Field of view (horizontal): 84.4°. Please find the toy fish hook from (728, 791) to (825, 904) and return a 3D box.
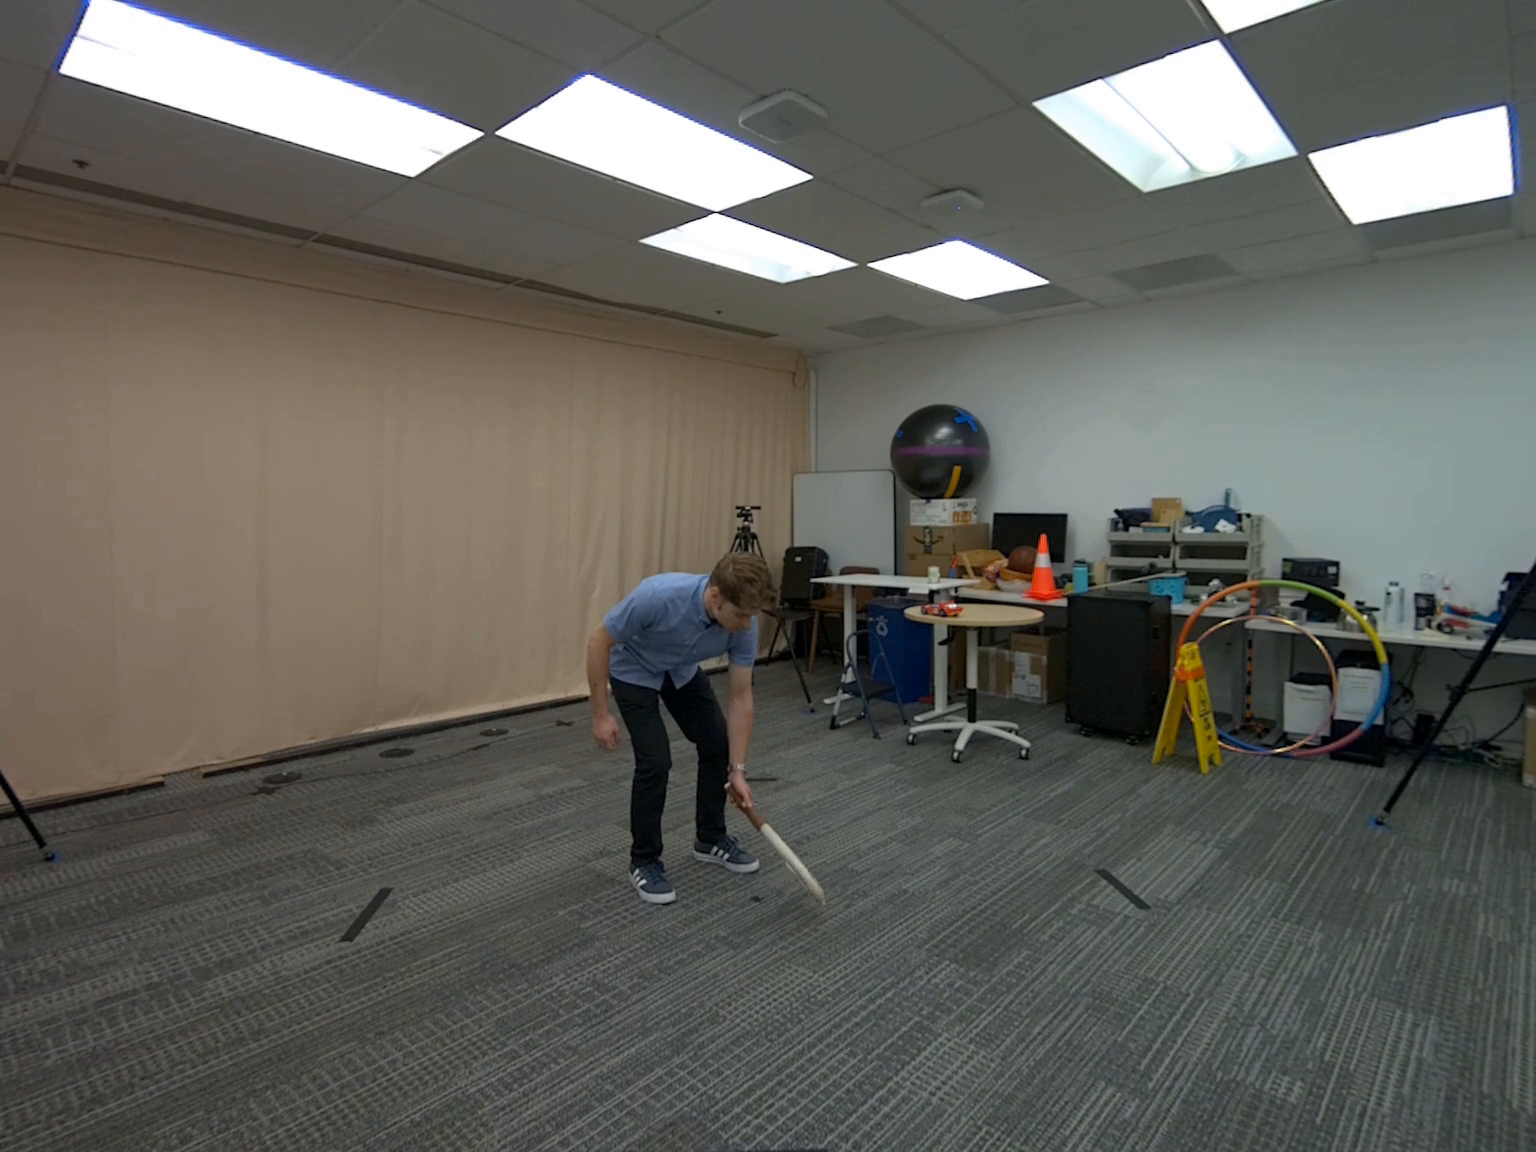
[{"bbox_3d":[0.028,0.910,2.906,0.048,0.220,0.522,-30,58,-22],"label":"toy fish hook"}]
